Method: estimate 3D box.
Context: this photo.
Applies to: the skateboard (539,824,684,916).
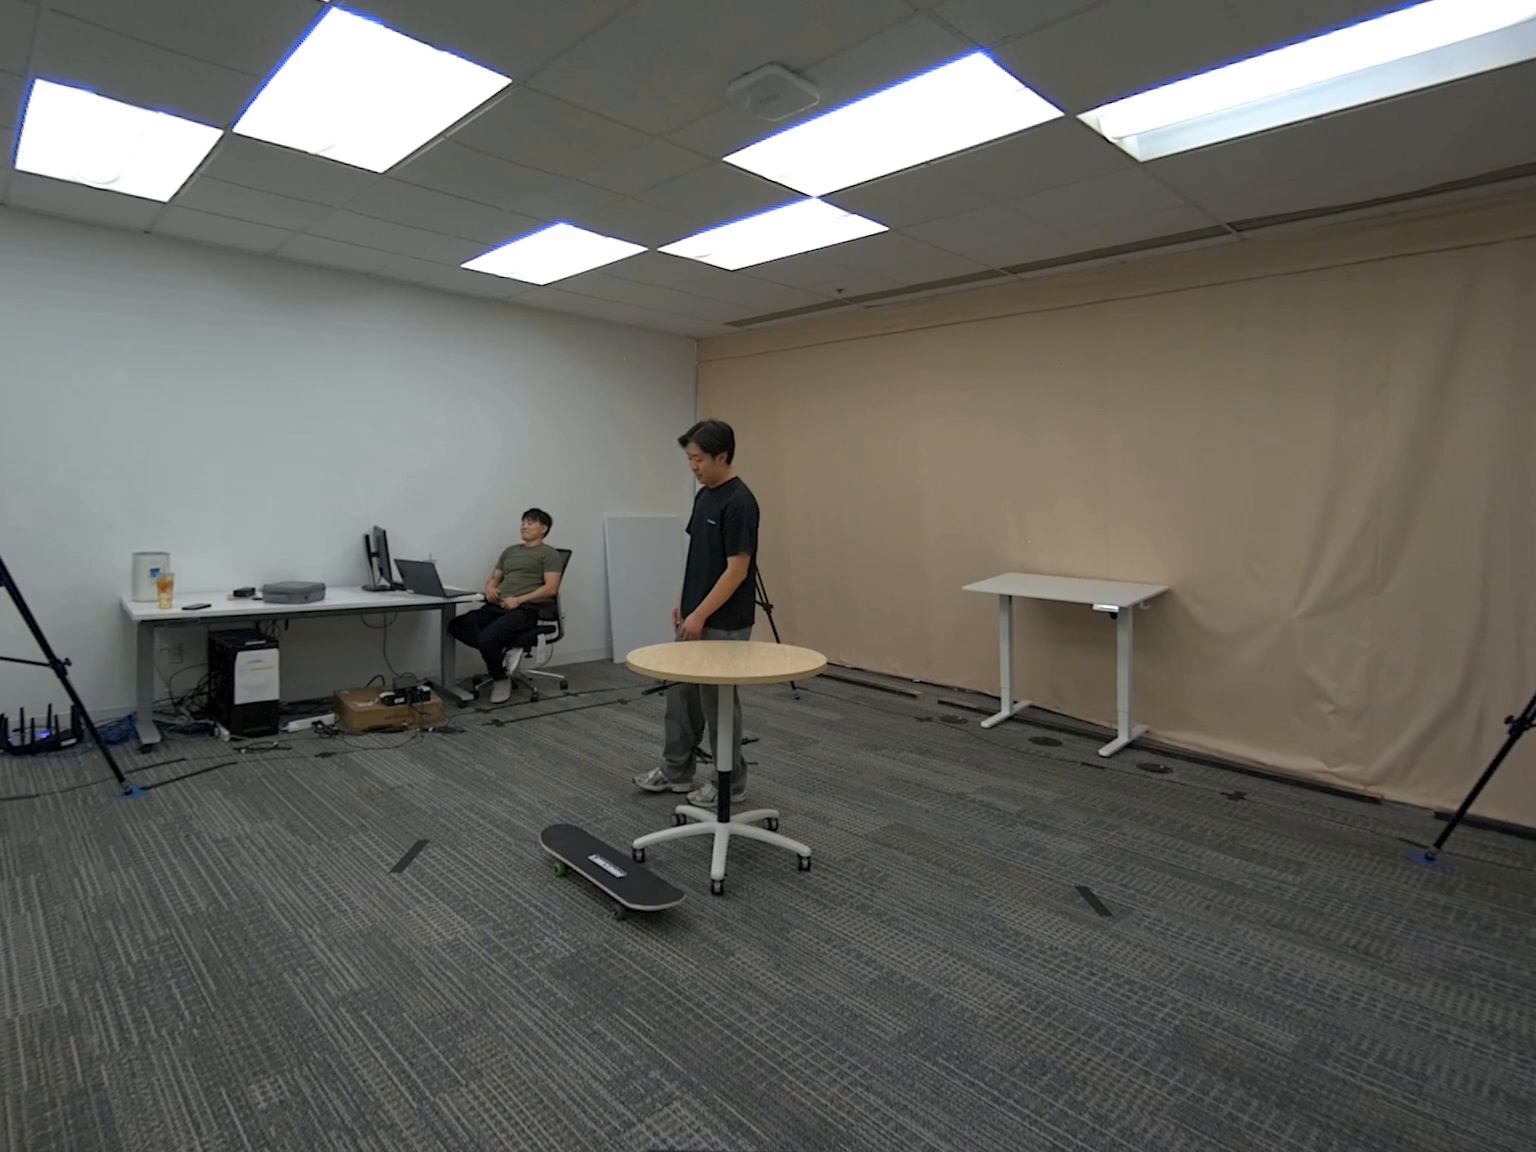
[{"bbox_3d":[-0.578,1.055,2.964,0.189,0.110,0.806,-2,6,-42],"label":"skateboard"}]
